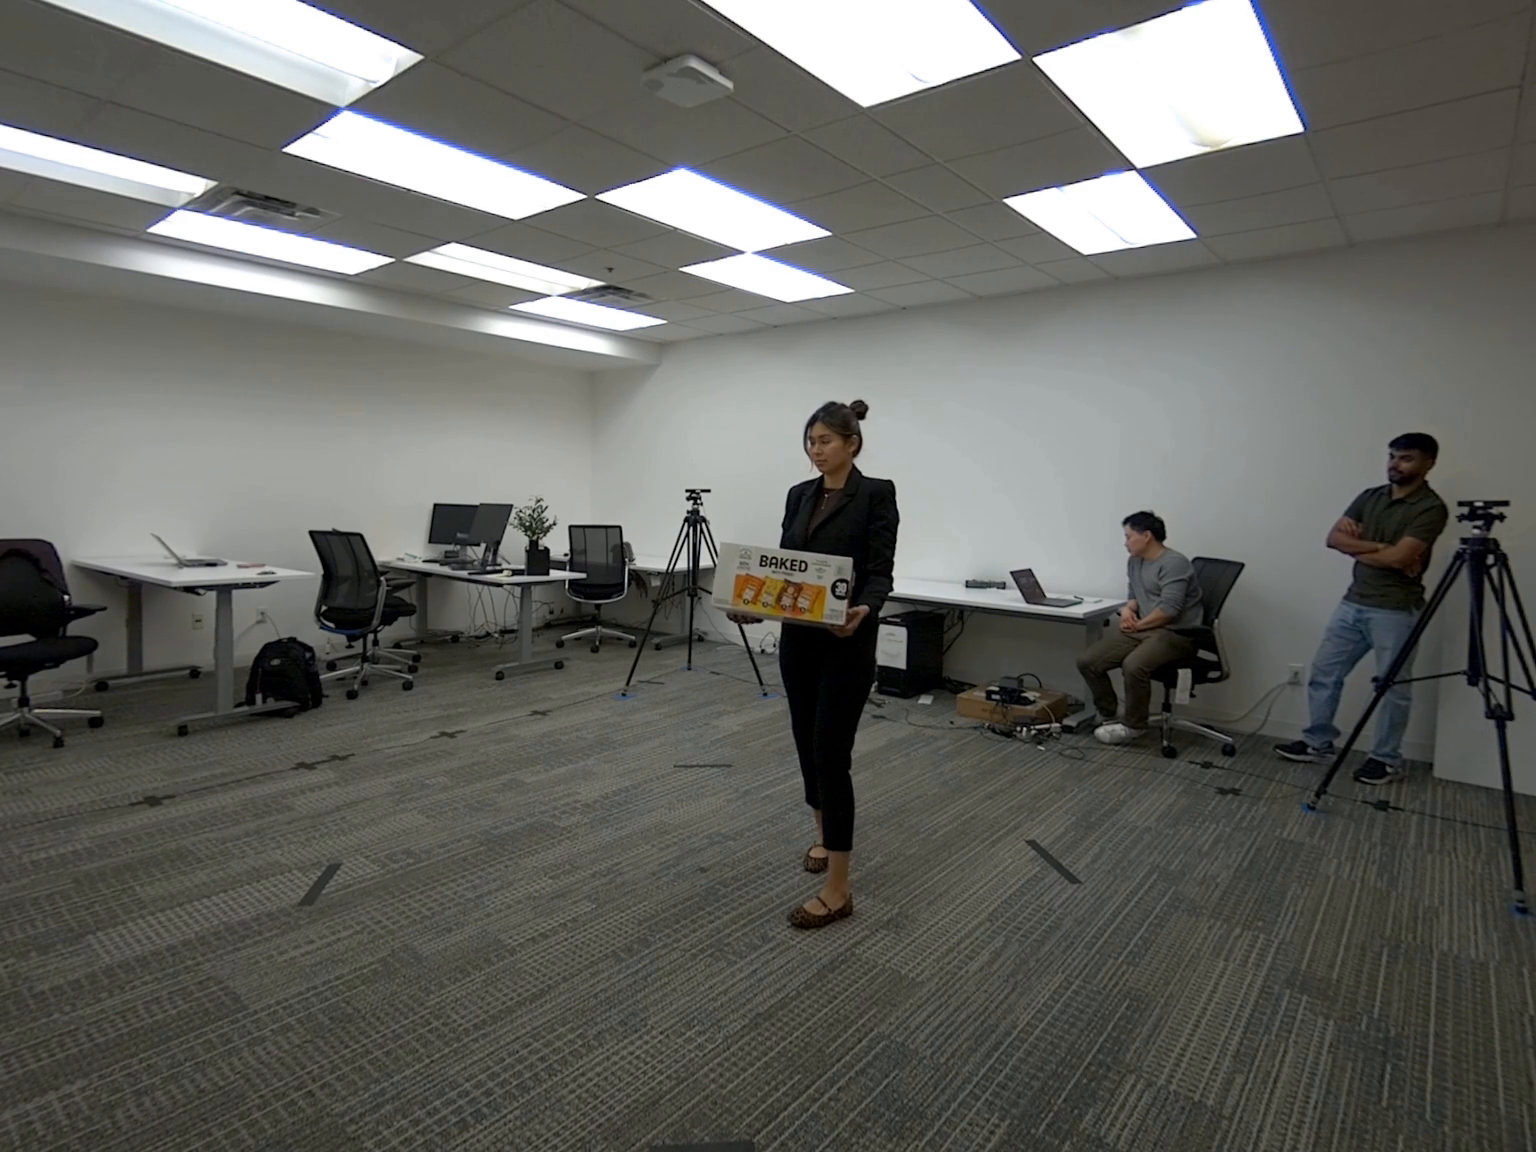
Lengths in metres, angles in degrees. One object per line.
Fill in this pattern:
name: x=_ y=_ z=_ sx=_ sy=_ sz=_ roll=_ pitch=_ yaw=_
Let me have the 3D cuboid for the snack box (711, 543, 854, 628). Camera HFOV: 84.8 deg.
snack box: x=0.056 y=0.034 z=2.702 sx=0.410 sy=0.207 sz=0.334 roll=7 pitch=-7 yaw=10
